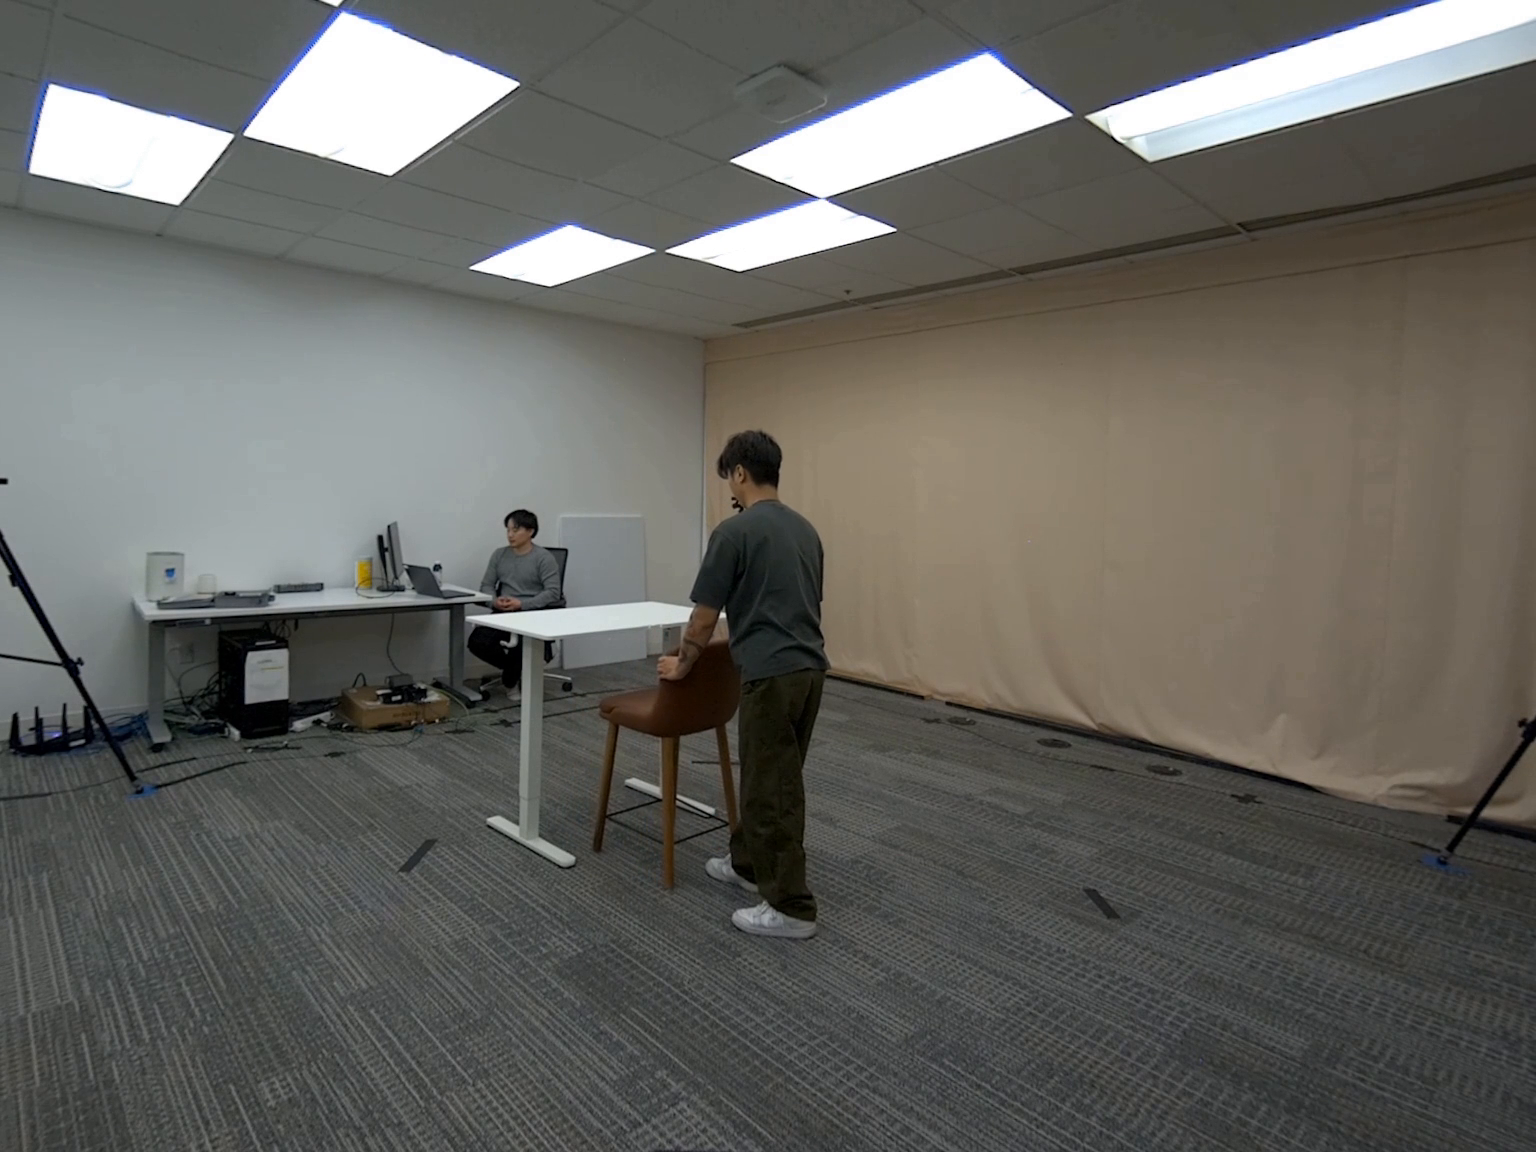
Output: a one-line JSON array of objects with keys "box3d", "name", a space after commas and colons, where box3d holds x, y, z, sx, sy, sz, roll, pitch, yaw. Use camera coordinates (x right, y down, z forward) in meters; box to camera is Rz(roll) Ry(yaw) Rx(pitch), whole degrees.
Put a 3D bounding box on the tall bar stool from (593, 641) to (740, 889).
[{"box3d": [-0.372, 0.647, 3.242, 0.446, 0.886, 0.480, -2, 8, -45], "name": "tall bar stool"}]
